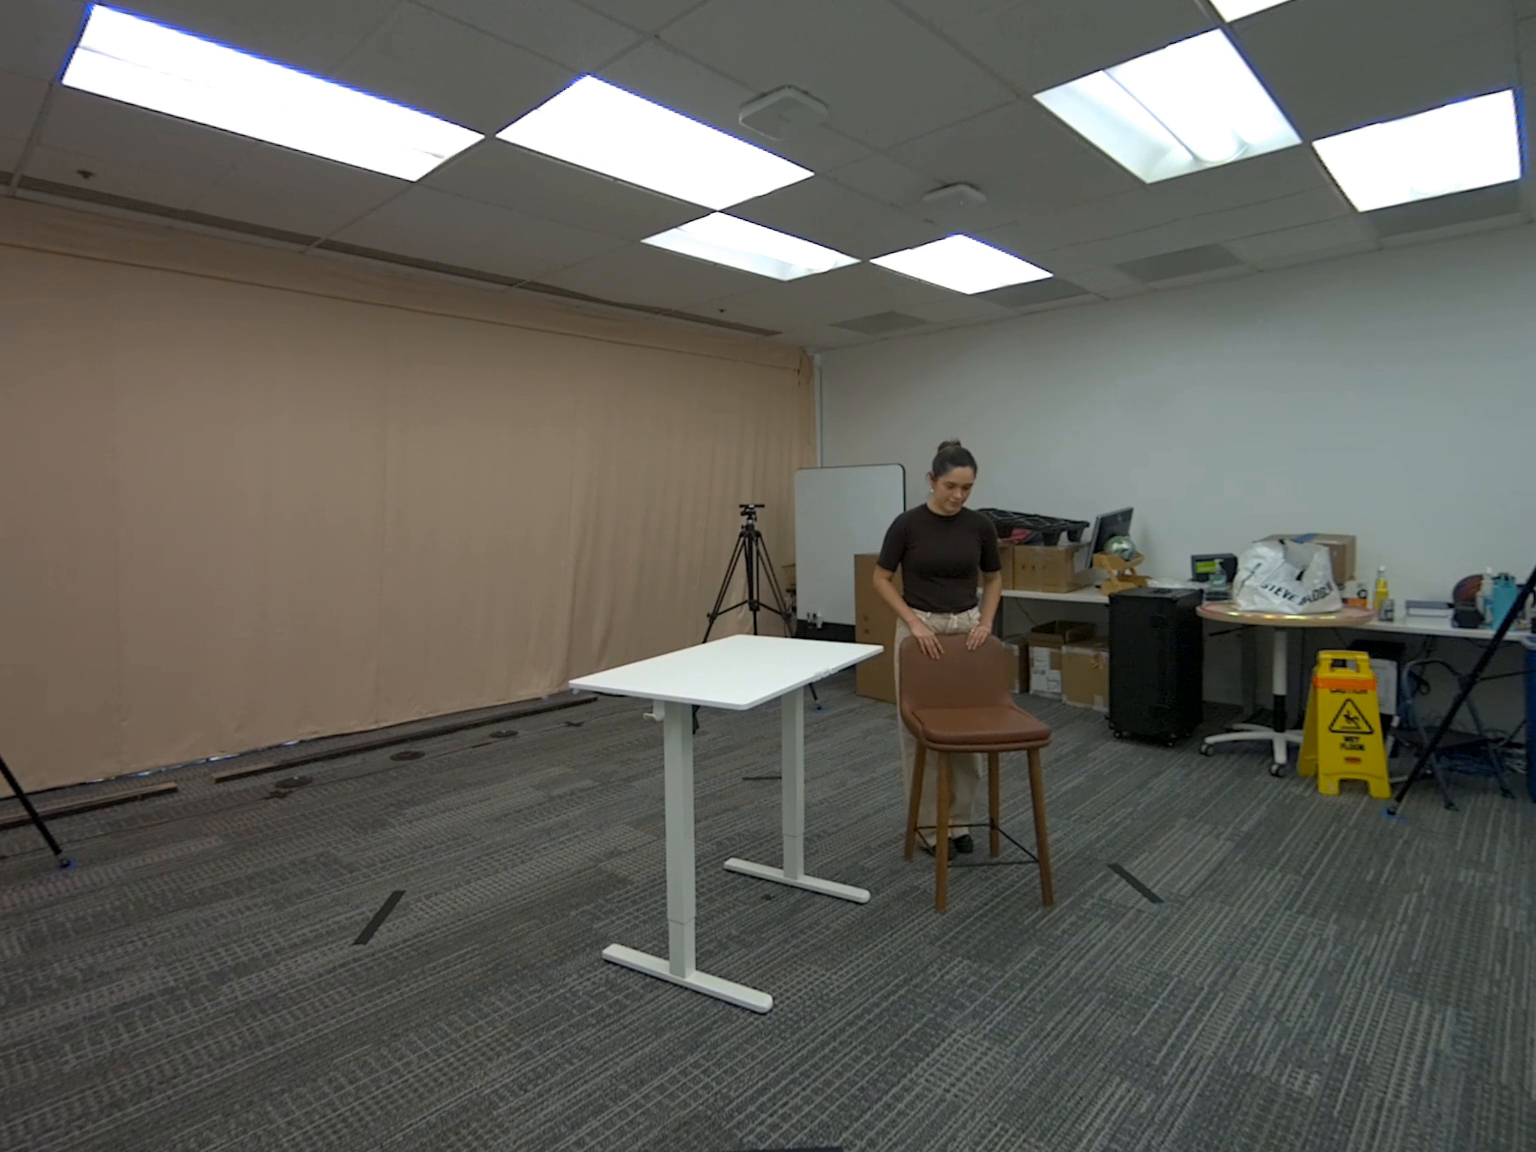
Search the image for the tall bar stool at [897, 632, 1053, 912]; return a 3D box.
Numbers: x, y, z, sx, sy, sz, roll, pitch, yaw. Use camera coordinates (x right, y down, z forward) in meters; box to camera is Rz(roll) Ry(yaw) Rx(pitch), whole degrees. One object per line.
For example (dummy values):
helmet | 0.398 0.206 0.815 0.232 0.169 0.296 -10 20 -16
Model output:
tall bar stool | 0.748 0.683 3.066 0.455 0.889 0.470 -1 1 -4
